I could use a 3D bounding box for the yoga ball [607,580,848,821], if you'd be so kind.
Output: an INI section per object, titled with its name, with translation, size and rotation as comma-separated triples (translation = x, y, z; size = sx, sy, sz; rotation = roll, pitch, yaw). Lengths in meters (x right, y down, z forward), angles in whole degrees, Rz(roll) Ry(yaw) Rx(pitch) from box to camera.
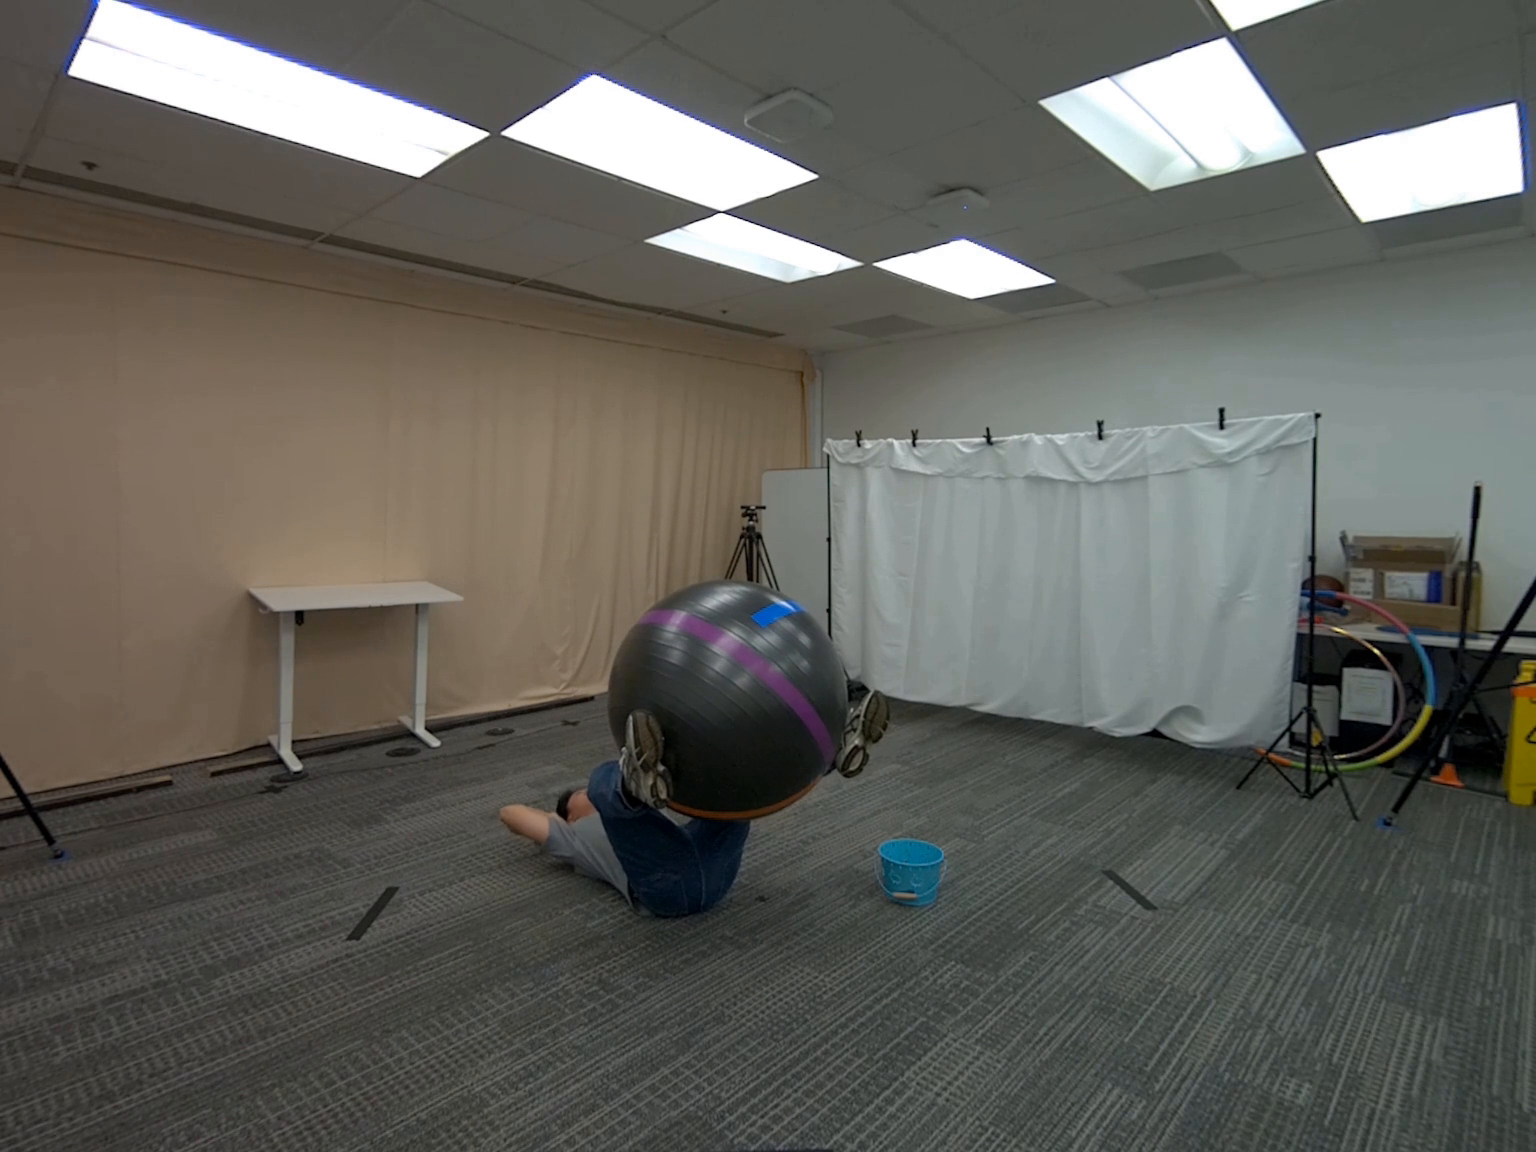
[yoga ball]
translation = -0.131, 0.392, 2.692
size = 0.757, 0.756, 0.761
rotation = 0, 4, -2
